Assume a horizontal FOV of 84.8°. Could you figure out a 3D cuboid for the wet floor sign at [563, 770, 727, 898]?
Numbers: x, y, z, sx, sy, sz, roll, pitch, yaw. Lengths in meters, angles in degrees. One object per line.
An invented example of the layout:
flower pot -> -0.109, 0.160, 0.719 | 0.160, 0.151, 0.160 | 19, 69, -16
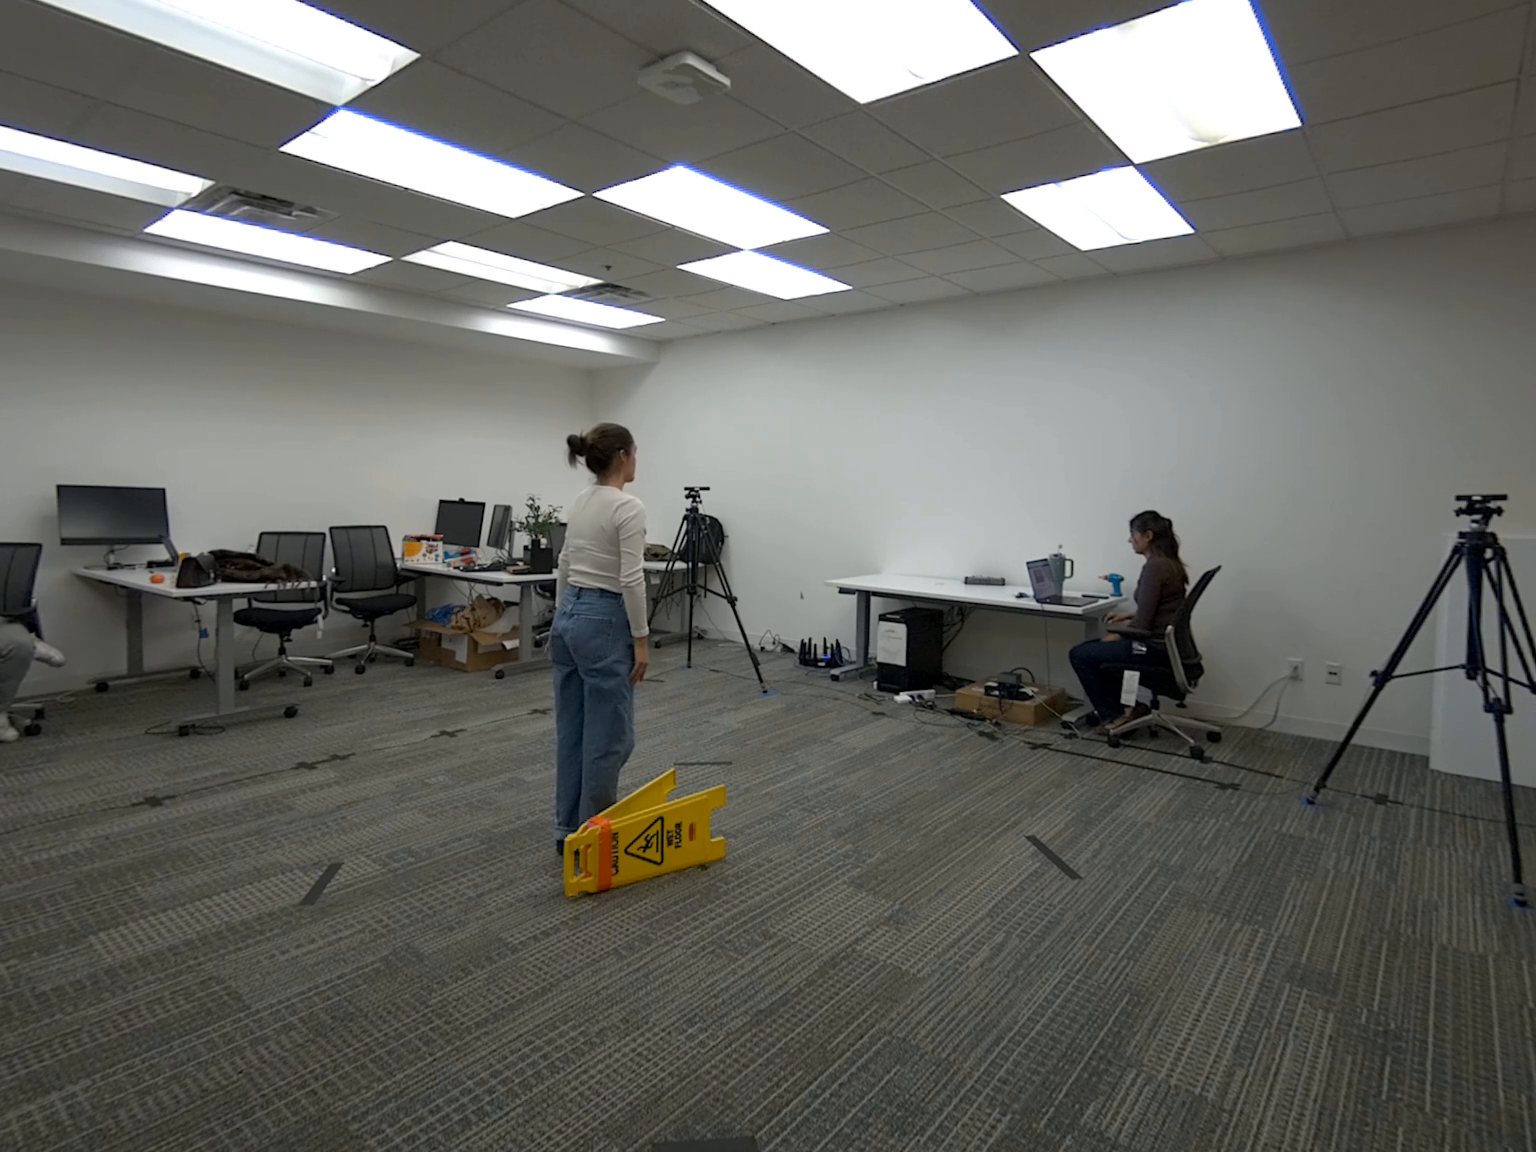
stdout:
wet floor sign -> -0.471, 0.937, 3.052 | 0.299, 0.281, 0.628 | 3, 7, 40
